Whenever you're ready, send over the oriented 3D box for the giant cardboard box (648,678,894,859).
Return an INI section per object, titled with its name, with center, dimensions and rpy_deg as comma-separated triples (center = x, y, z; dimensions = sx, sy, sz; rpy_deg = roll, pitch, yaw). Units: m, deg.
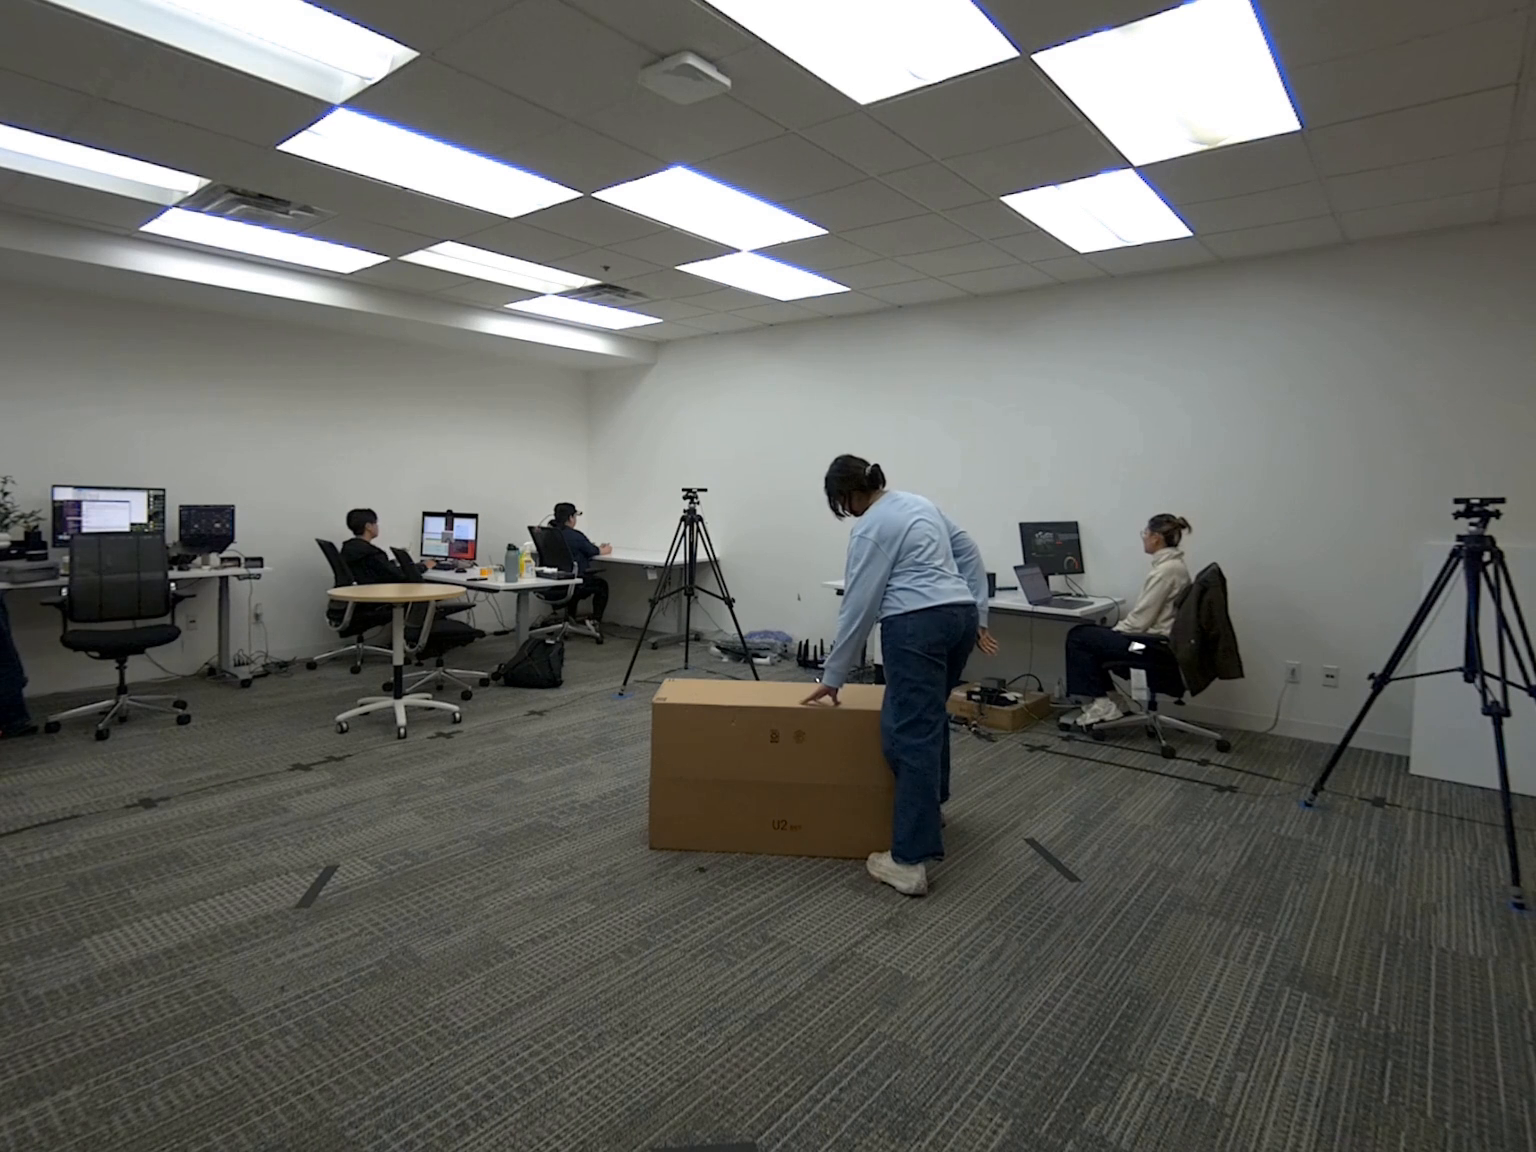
[giant cardboard box]
center = 0.044, 0.752, 3.444
dimensions = 1.030, 0.576, 0.426
rpy_deg = 1, 3, 3
